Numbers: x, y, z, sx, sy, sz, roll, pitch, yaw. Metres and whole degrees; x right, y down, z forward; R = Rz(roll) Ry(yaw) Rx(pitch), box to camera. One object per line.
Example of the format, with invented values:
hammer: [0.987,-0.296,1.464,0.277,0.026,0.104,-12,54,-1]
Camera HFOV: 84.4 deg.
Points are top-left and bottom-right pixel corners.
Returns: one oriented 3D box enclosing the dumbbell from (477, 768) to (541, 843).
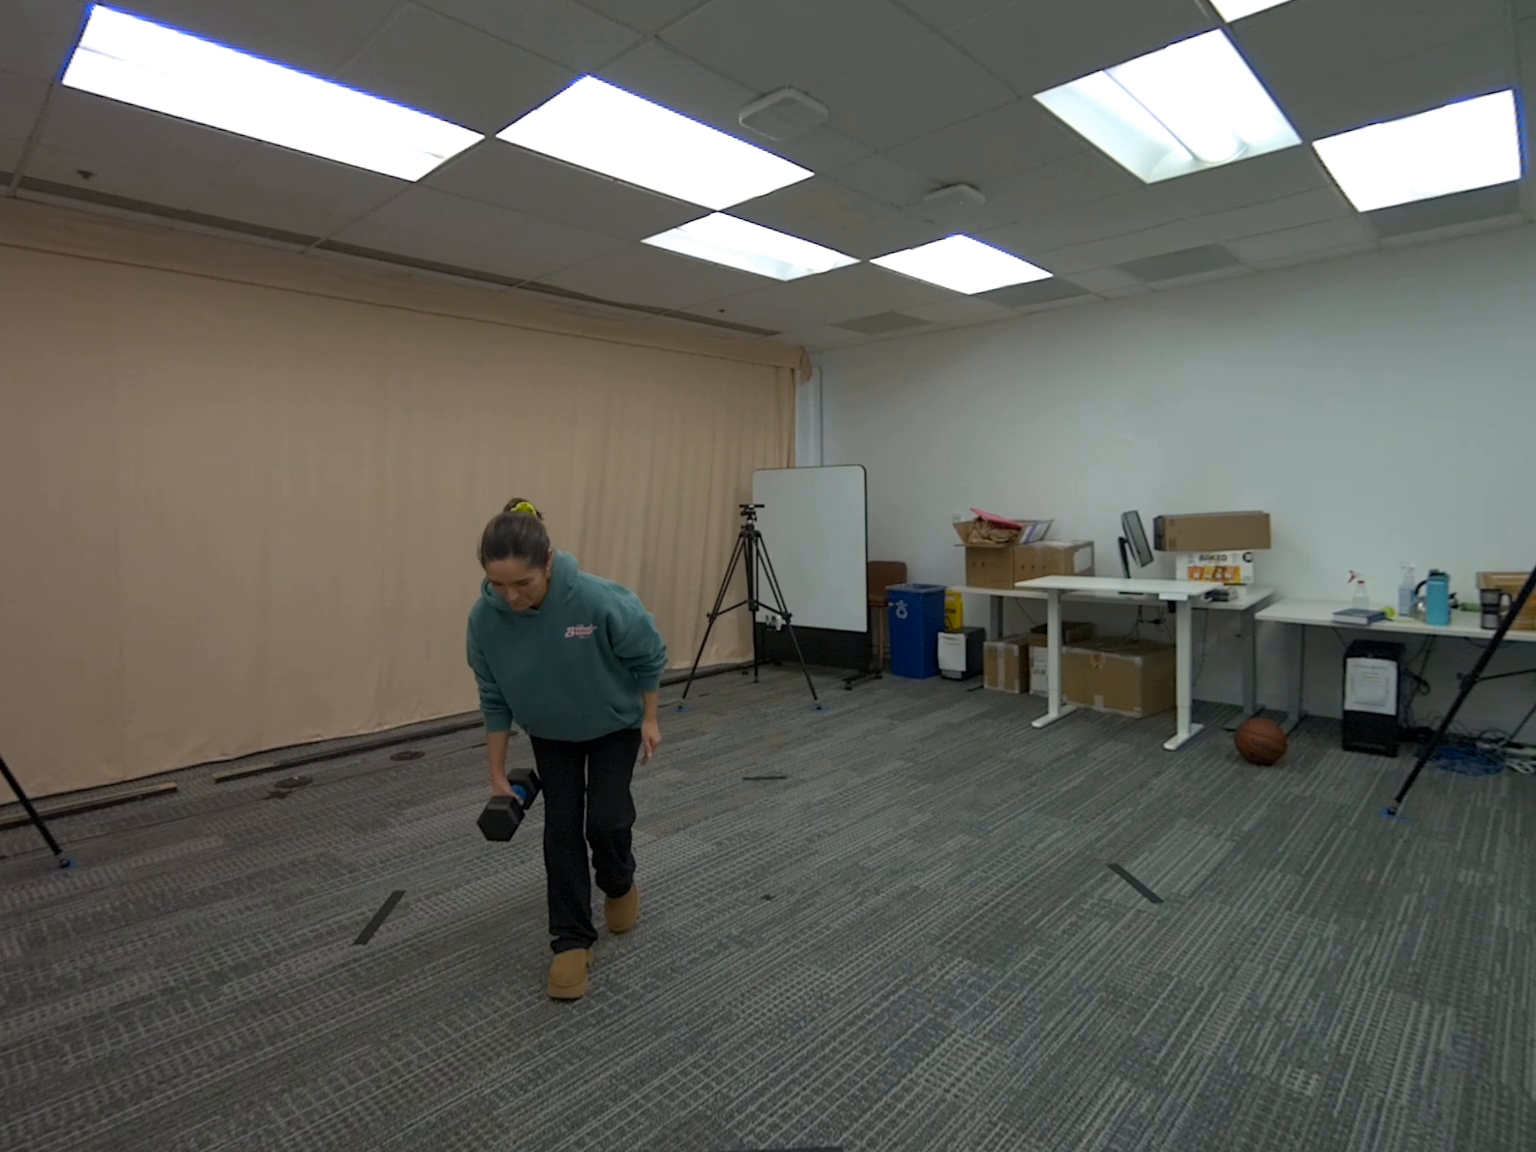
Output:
dumbbell: [-0.743,0.660,2.433,0.109,0.122,0.295,-29,6,1]
